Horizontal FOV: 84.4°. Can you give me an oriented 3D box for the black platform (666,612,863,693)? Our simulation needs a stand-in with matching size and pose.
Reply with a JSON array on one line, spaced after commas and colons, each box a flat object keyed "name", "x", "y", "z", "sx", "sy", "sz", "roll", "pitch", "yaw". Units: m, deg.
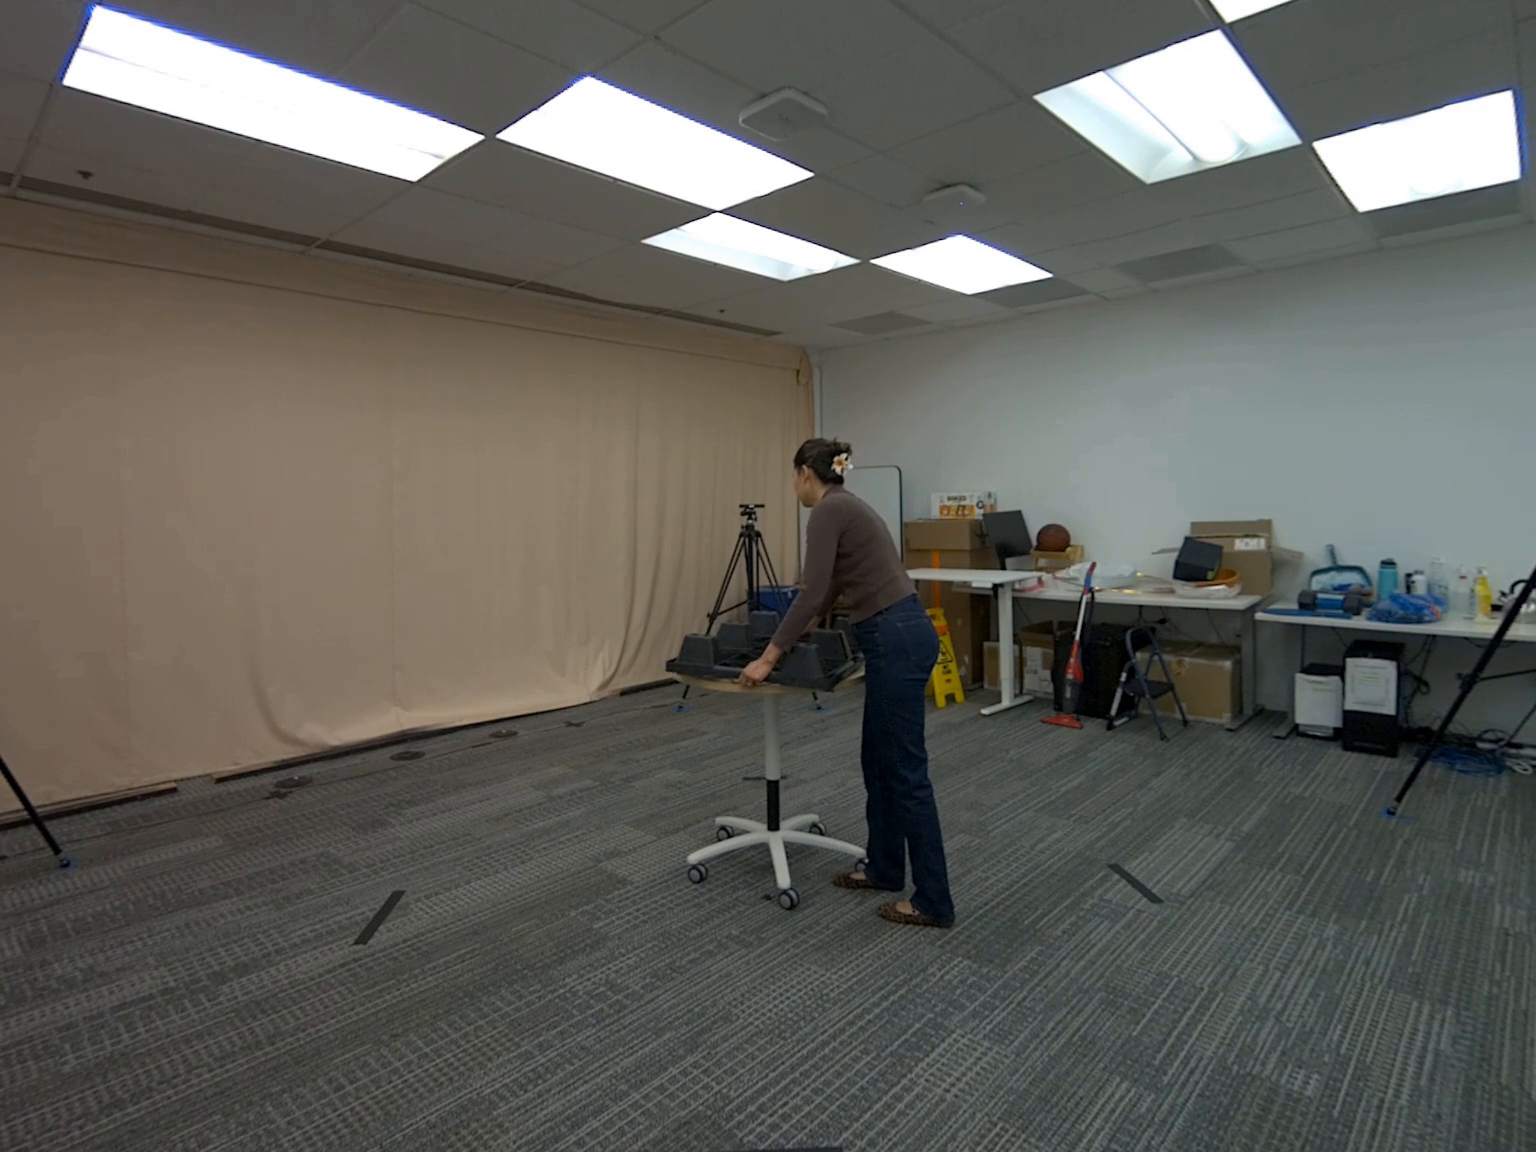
[{"name": "black platform", "x": 0.051, "y": 0.263, "z": 3.191, "sx": 0.619, "sy": 0.143, "sz": 0.790, "roll": 3, "pitch": 6, "yaw": 20}]
